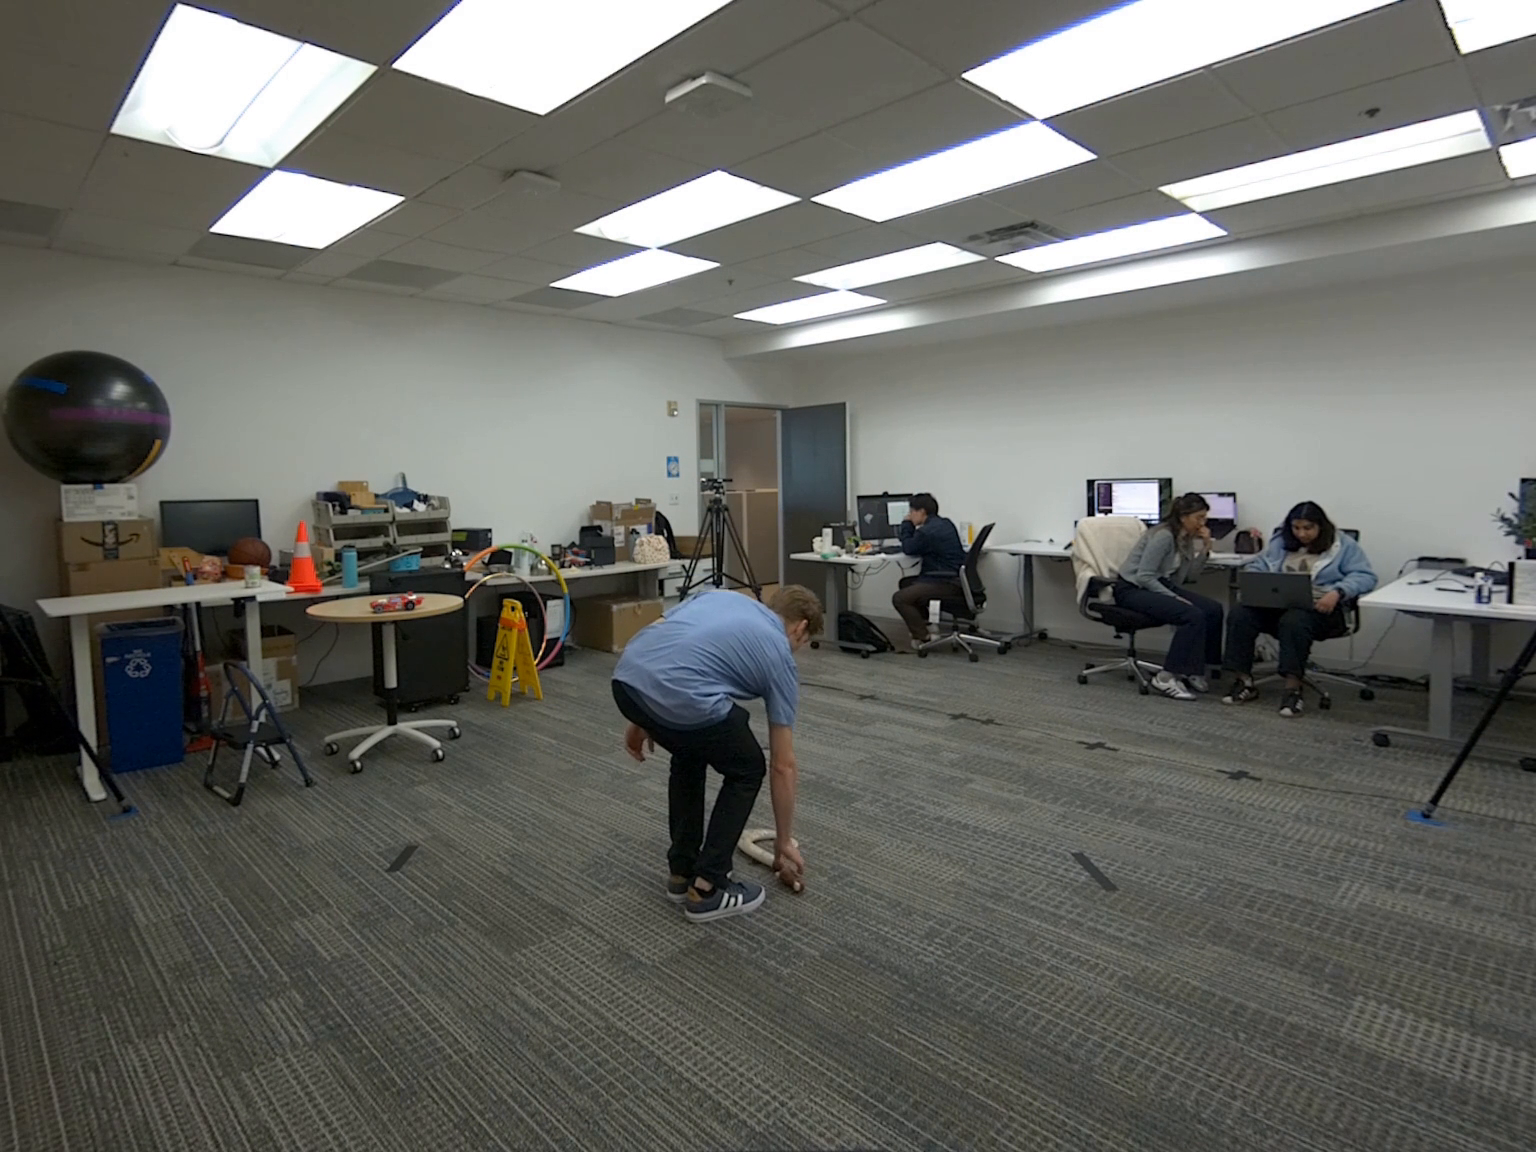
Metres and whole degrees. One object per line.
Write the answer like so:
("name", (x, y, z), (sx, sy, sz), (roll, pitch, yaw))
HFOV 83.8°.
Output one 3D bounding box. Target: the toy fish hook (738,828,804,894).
("toy fish hook", (0.053, 1.019, 3.109), (0.220, 0.048, 0.519), (-6, 8, -23))
